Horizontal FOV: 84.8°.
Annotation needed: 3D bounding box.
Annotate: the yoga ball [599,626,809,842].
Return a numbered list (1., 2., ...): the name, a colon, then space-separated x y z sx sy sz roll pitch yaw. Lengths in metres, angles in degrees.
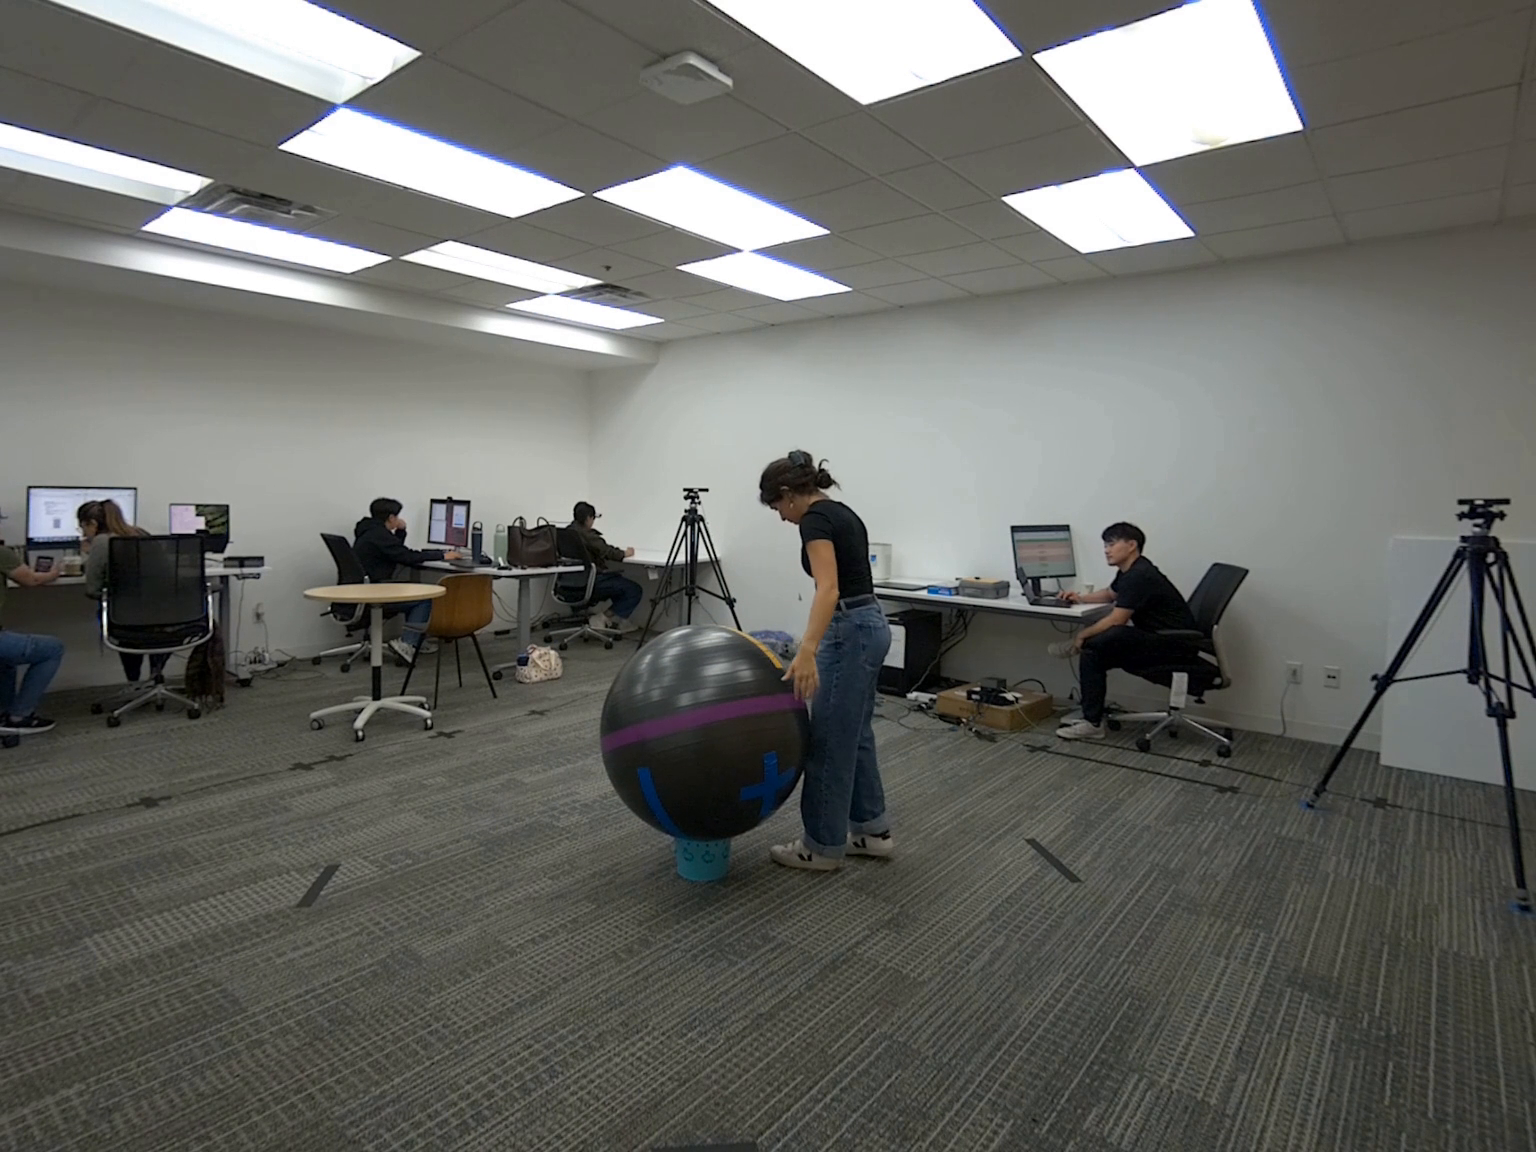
1. yoga ball: -0.247 0.561 3.081 0.757 0.756 0.762 1 4 -2
